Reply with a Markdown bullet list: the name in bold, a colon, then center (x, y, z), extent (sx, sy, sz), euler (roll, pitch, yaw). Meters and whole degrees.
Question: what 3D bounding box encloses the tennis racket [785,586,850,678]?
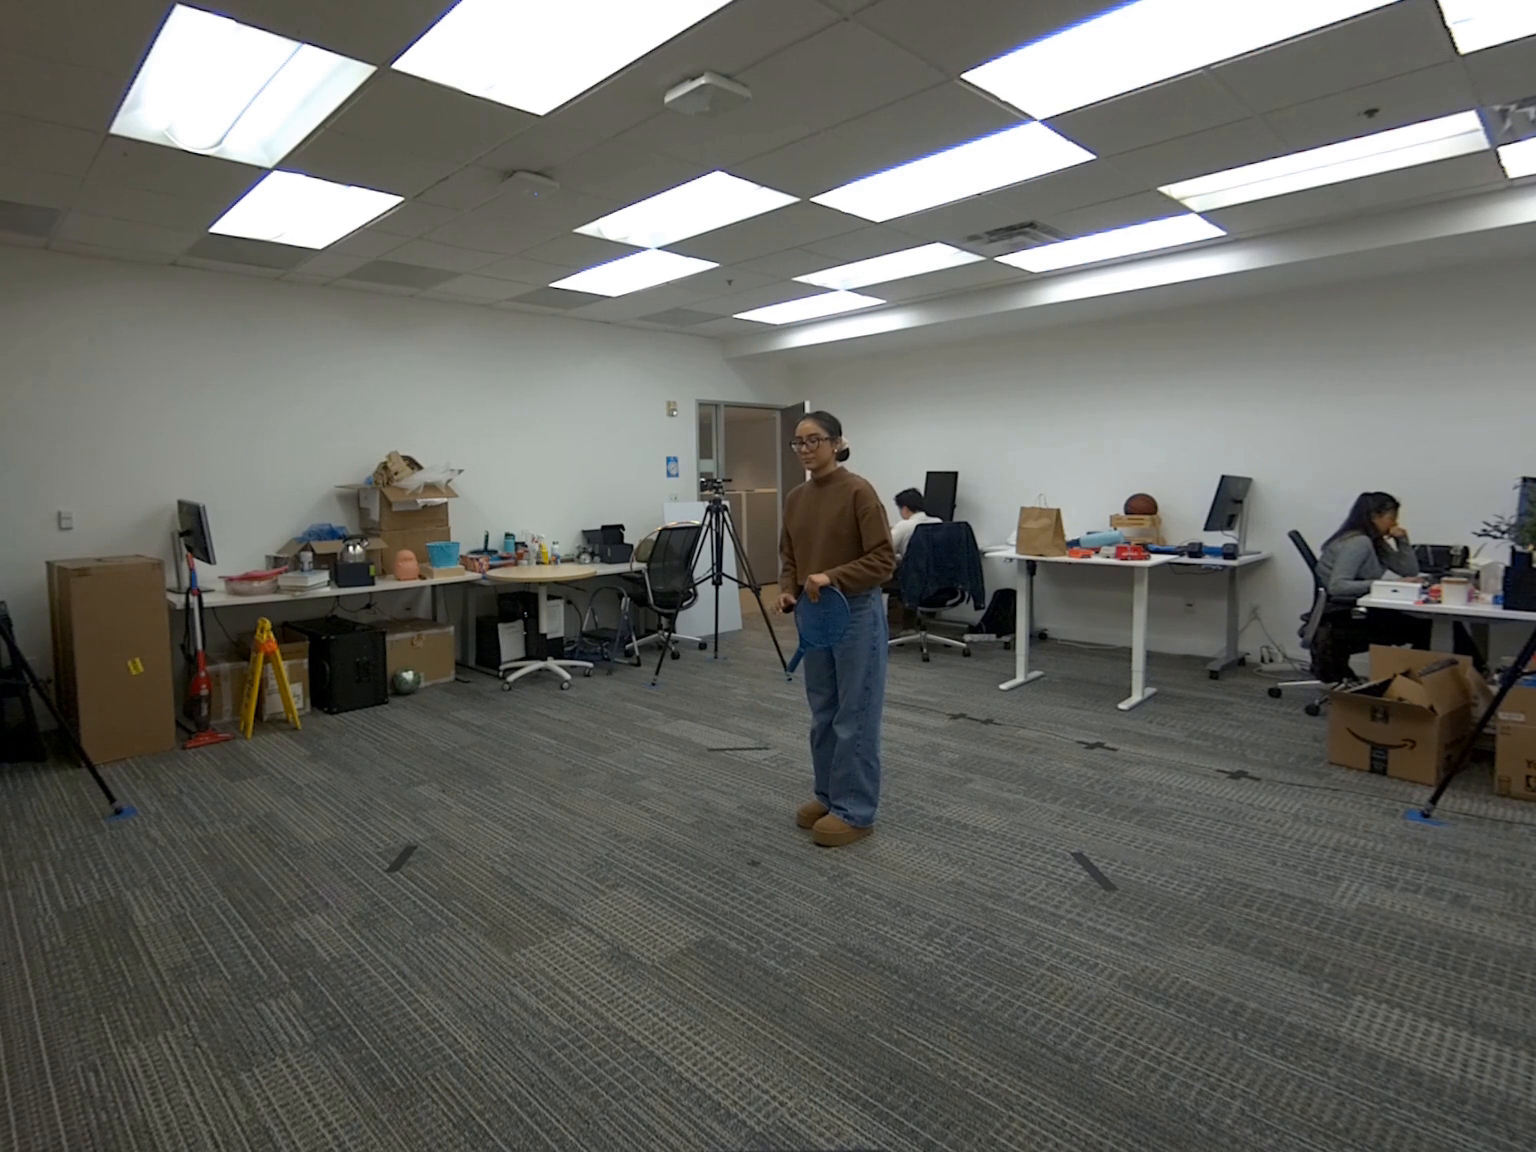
- **tennis racket**: center (0.178, 0.218, 3.160), extent (0.220, 0.428, 0.031), euler (43, 36, 21)
